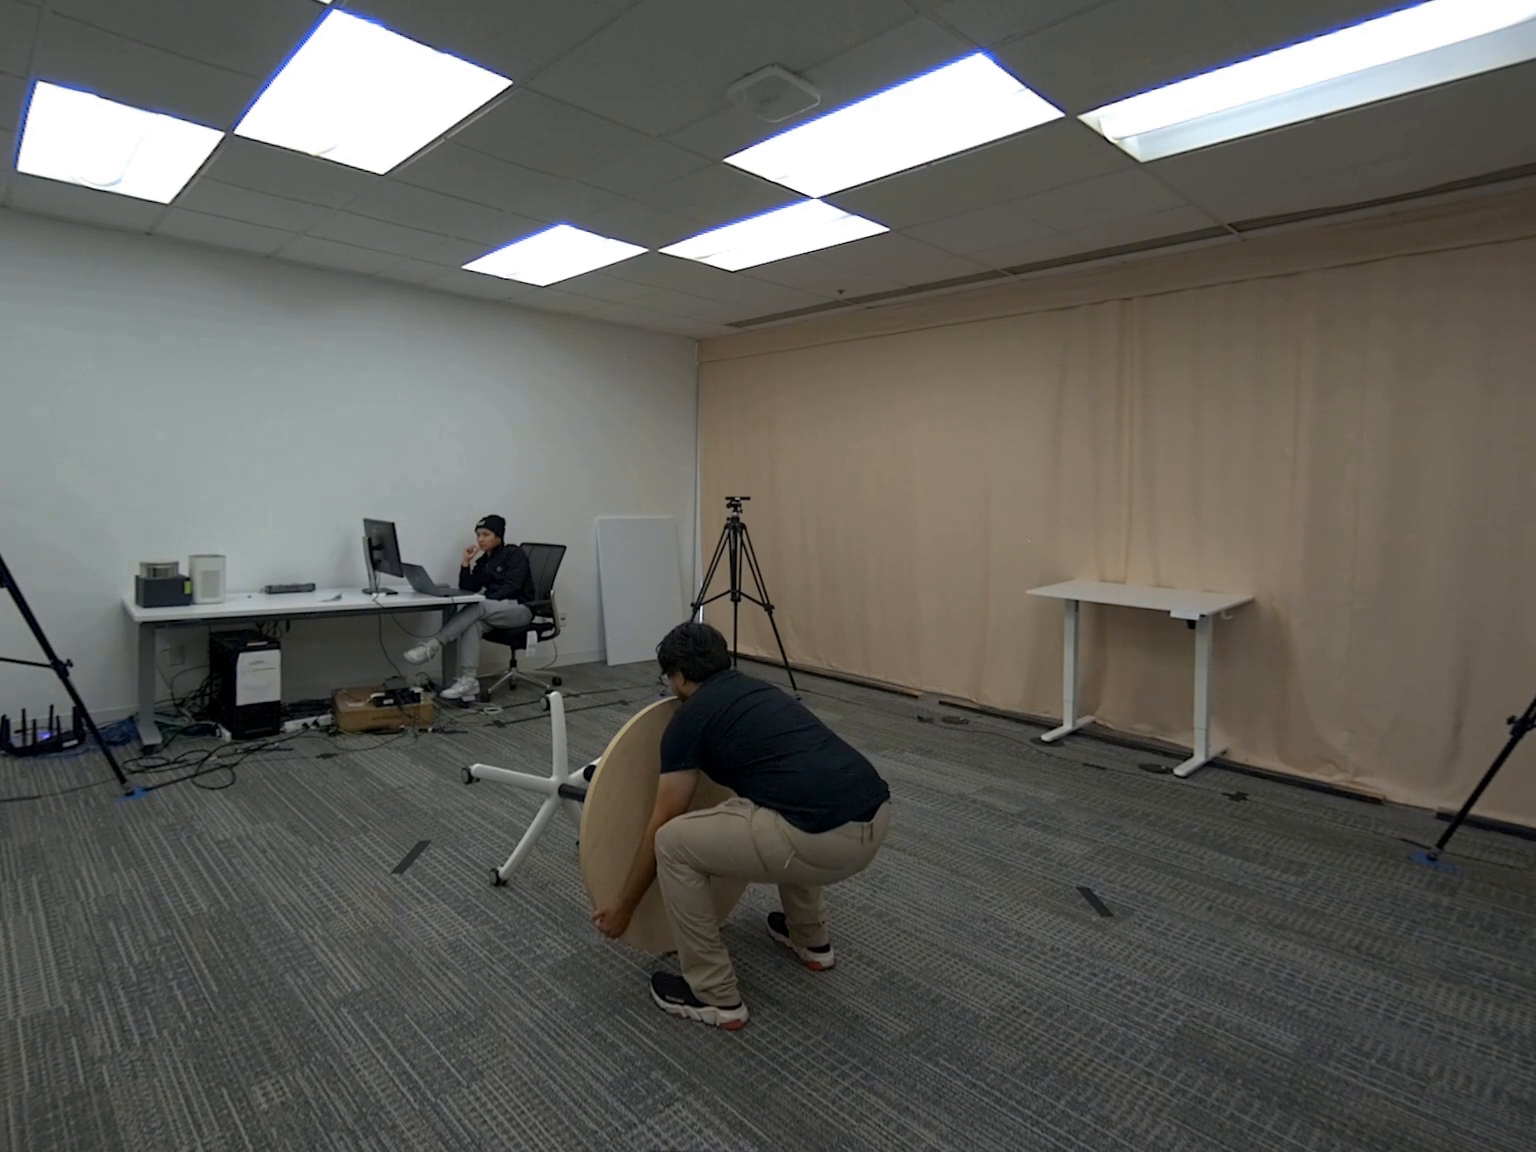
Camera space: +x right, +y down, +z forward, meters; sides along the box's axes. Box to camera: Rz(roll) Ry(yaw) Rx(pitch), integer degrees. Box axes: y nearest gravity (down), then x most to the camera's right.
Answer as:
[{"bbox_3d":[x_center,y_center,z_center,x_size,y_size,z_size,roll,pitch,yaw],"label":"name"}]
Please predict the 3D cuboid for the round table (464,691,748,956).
[{"bbox_3d":[-0.557,0.783,2.906,0.803,0.786,0.767,-5,-1,43],"label":"round table"}]
